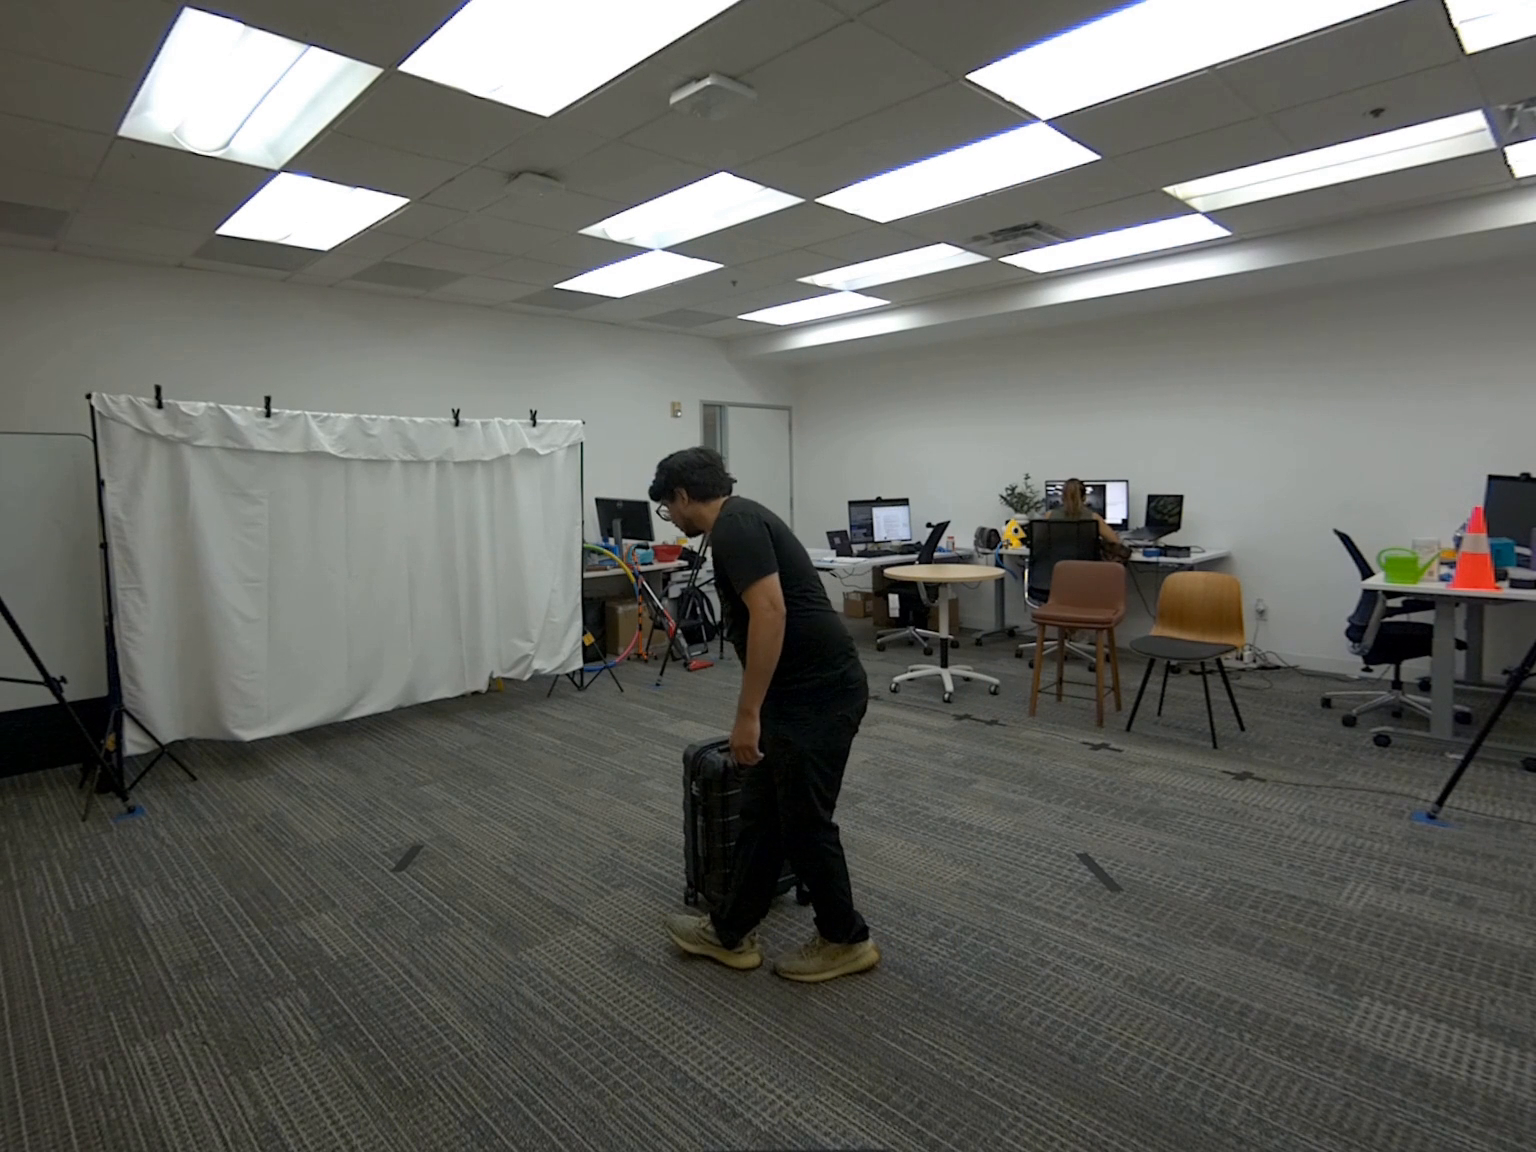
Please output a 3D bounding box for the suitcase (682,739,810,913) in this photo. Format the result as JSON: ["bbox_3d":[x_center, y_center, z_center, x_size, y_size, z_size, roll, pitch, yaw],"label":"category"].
[{"bbox_3d":[-0.077,0.806,2.824,0.366,0.548,0.255,-3,2,-35],"label":"suitcase"}]
